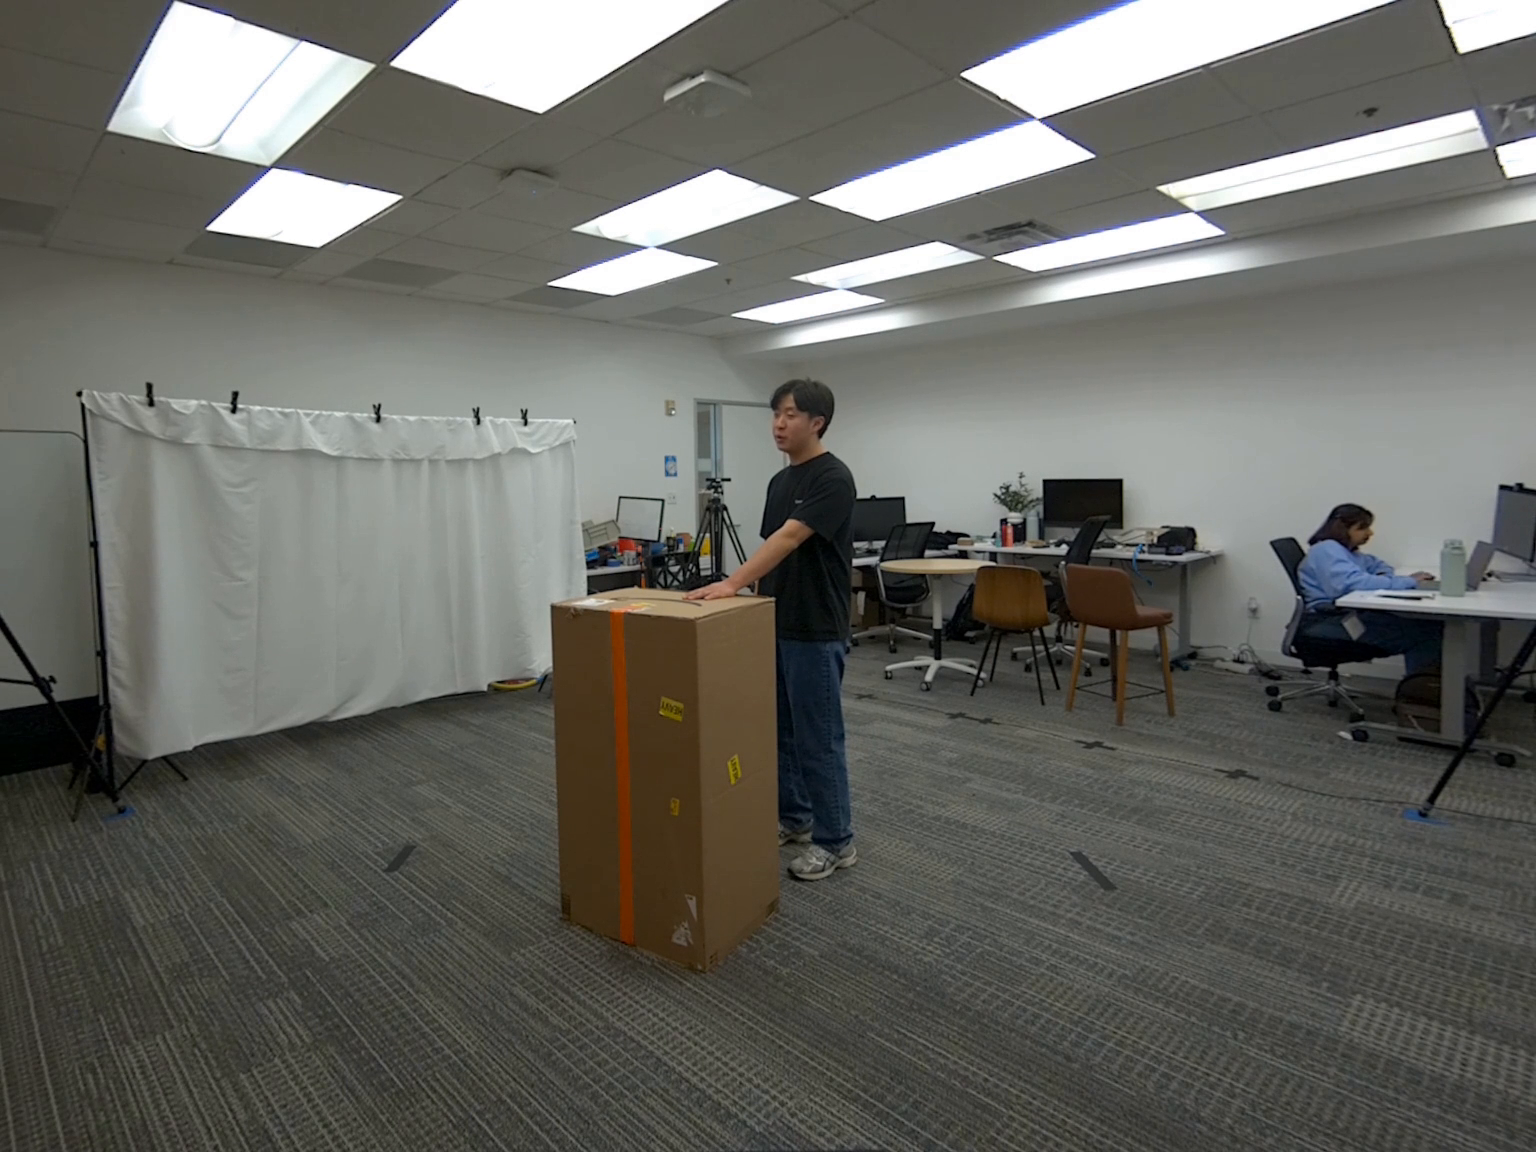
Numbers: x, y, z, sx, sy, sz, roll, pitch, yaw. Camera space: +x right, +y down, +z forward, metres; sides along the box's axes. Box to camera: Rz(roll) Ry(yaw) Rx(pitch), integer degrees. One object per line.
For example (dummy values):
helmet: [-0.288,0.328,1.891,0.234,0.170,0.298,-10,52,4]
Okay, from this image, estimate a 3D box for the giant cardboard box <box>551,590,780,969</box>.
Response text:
giant cardboard box: [-0.323,0.580,2.713,0.600,1.022,0.436,2,6,35]
